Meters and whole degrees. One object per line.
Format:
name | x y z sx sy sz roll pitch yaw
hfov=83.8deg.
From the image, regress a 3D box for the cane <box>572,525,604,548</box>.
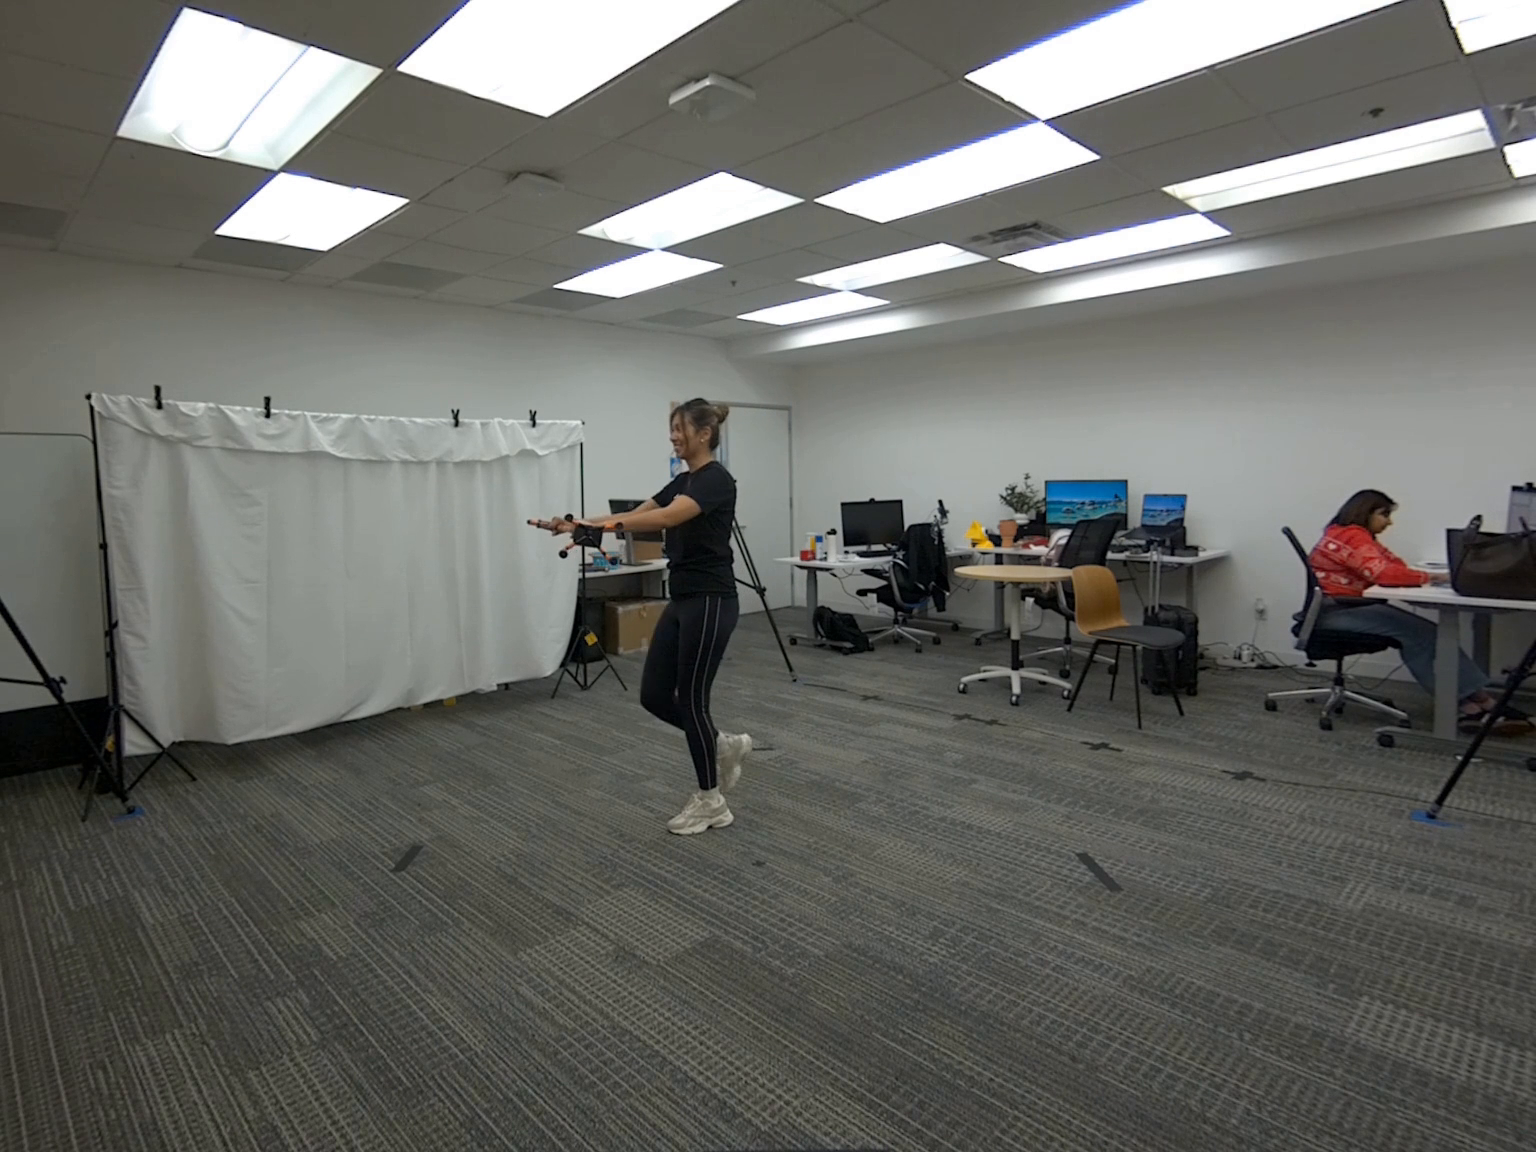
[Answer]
cane | -0.822 -0.174 3.317 0.202 0.151 0.931 8 4 -24
